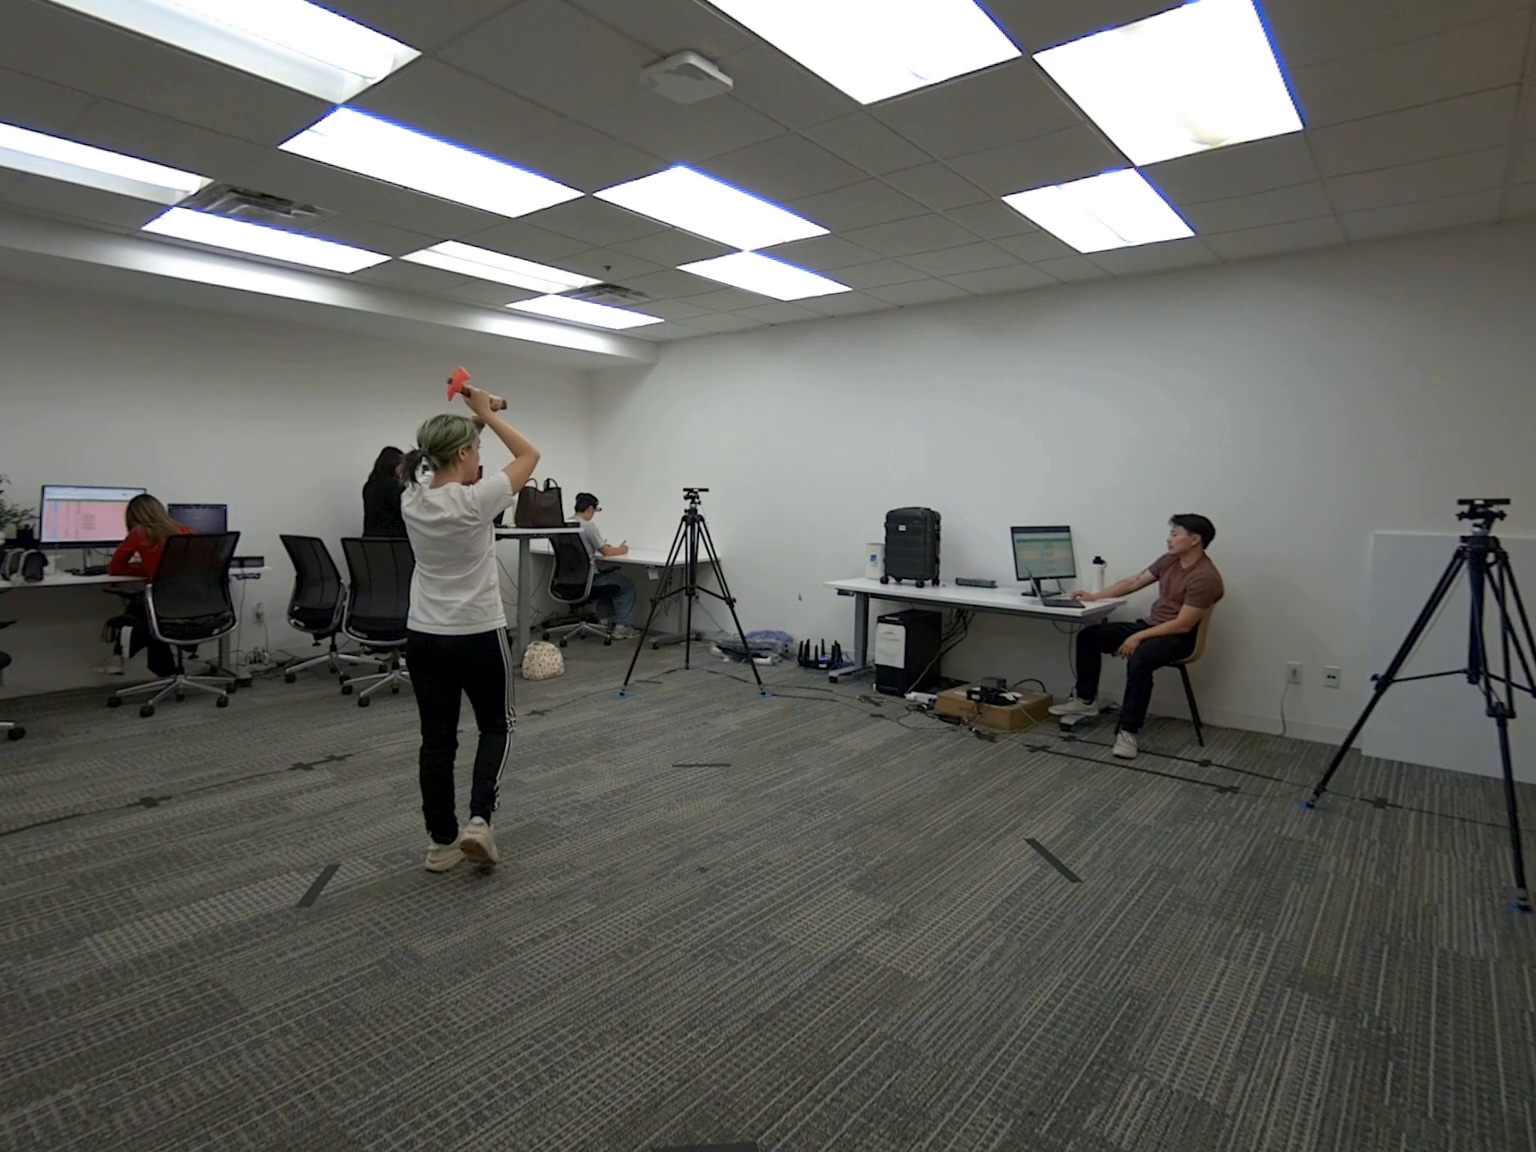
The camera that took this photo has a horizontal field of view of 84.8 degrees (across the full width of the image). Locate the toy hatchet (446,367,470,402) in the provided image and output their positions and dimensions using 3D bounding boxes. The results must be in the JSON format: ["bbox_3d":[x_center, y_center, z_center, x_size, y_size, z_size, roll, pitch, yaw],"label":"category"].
[{"bbox_3d":[-1.081,-0.695,3.122,0.030,0.131,0.263,0,2,30],"label":"toy hatchet"}]
